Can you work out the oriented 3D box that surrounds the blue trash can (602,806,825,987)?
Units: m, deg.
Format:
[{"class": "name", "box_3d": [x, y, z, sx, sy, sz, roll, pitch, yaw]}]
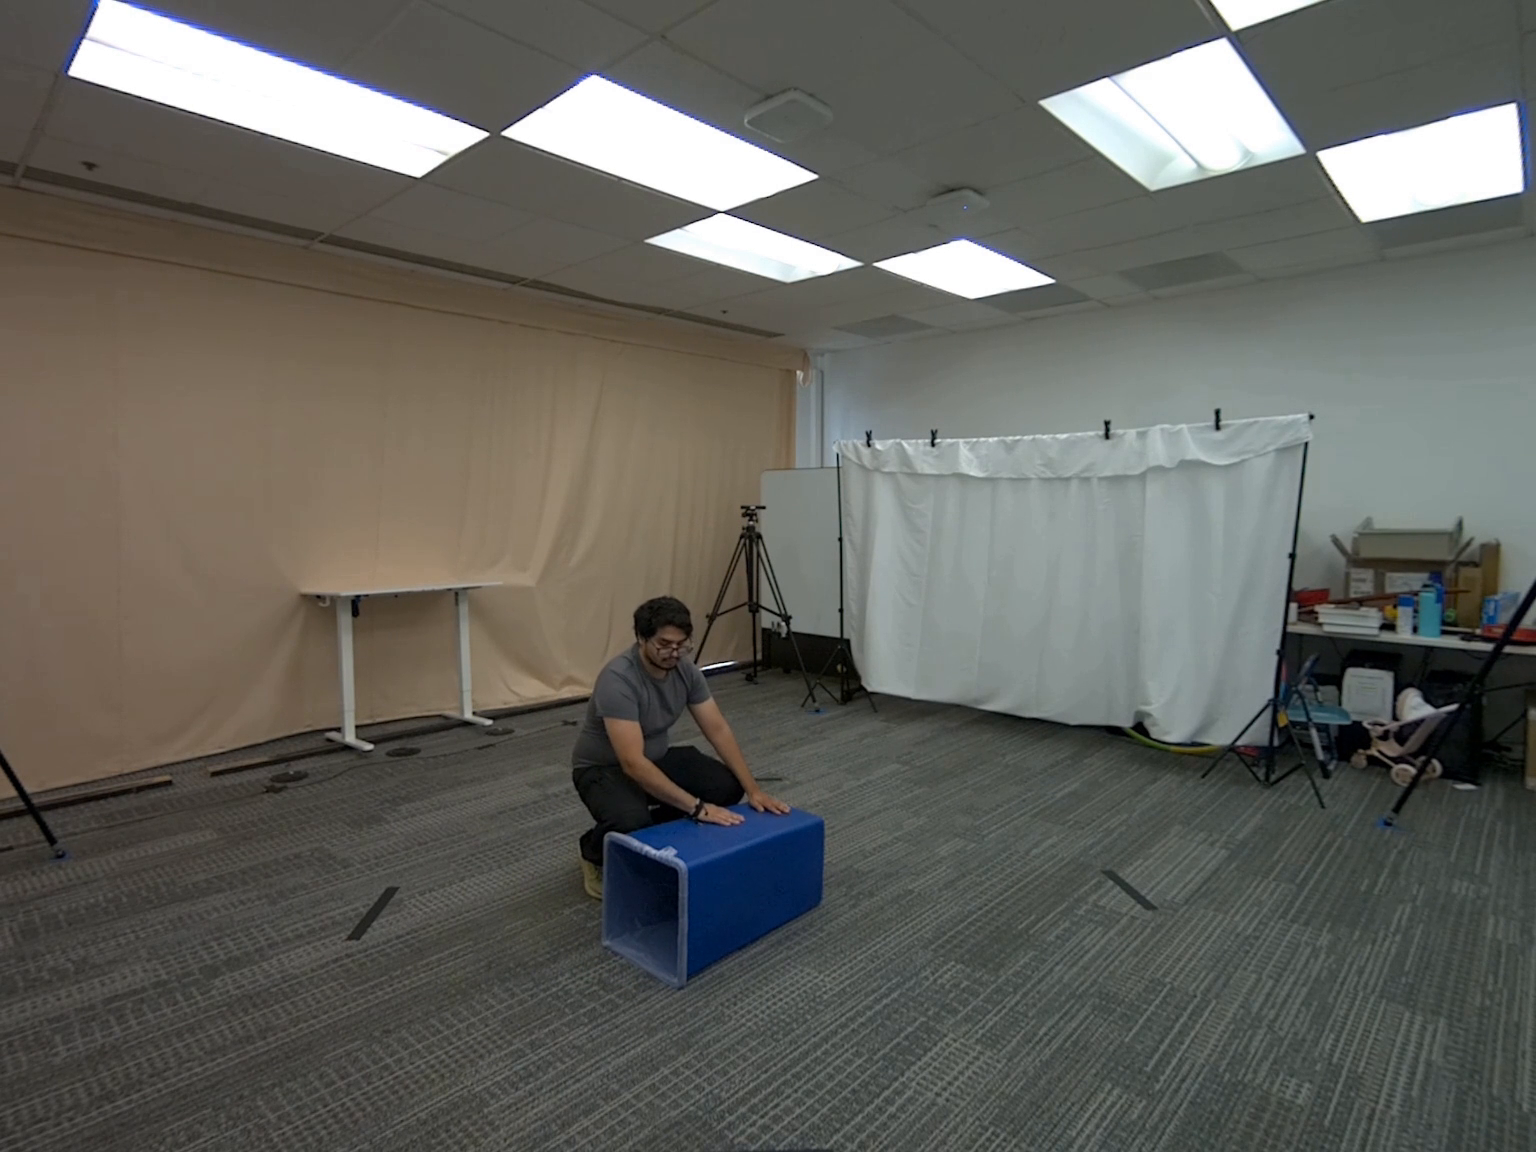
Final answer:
[{"class": "blue trash can", "box_3d": [-0.143, 0.987, 2.785, 0.386, 0.377, 0.691, 3, 3, 43]}]
